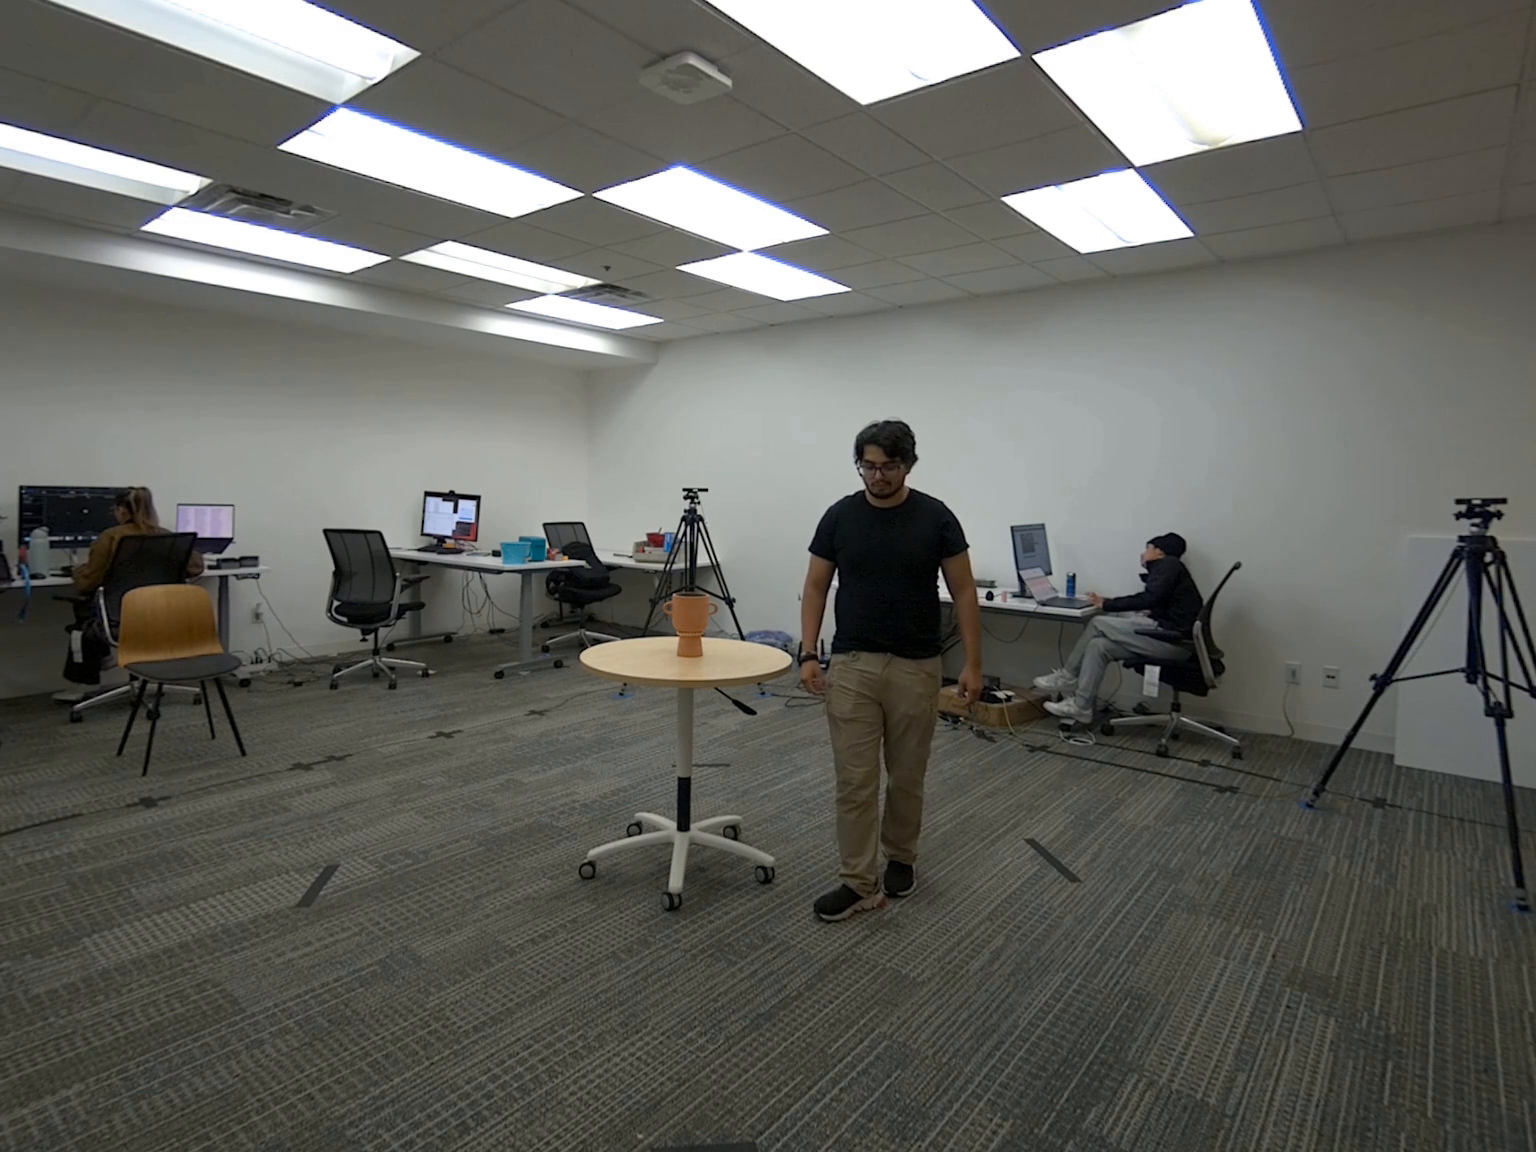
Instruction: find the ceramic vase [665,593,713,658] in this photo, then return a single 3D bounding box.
[{"bbox_3d":[-0.295,0.177,3.096,0.164,0.219,0.131,4,5,33],"label":"ceramic vase"}]
